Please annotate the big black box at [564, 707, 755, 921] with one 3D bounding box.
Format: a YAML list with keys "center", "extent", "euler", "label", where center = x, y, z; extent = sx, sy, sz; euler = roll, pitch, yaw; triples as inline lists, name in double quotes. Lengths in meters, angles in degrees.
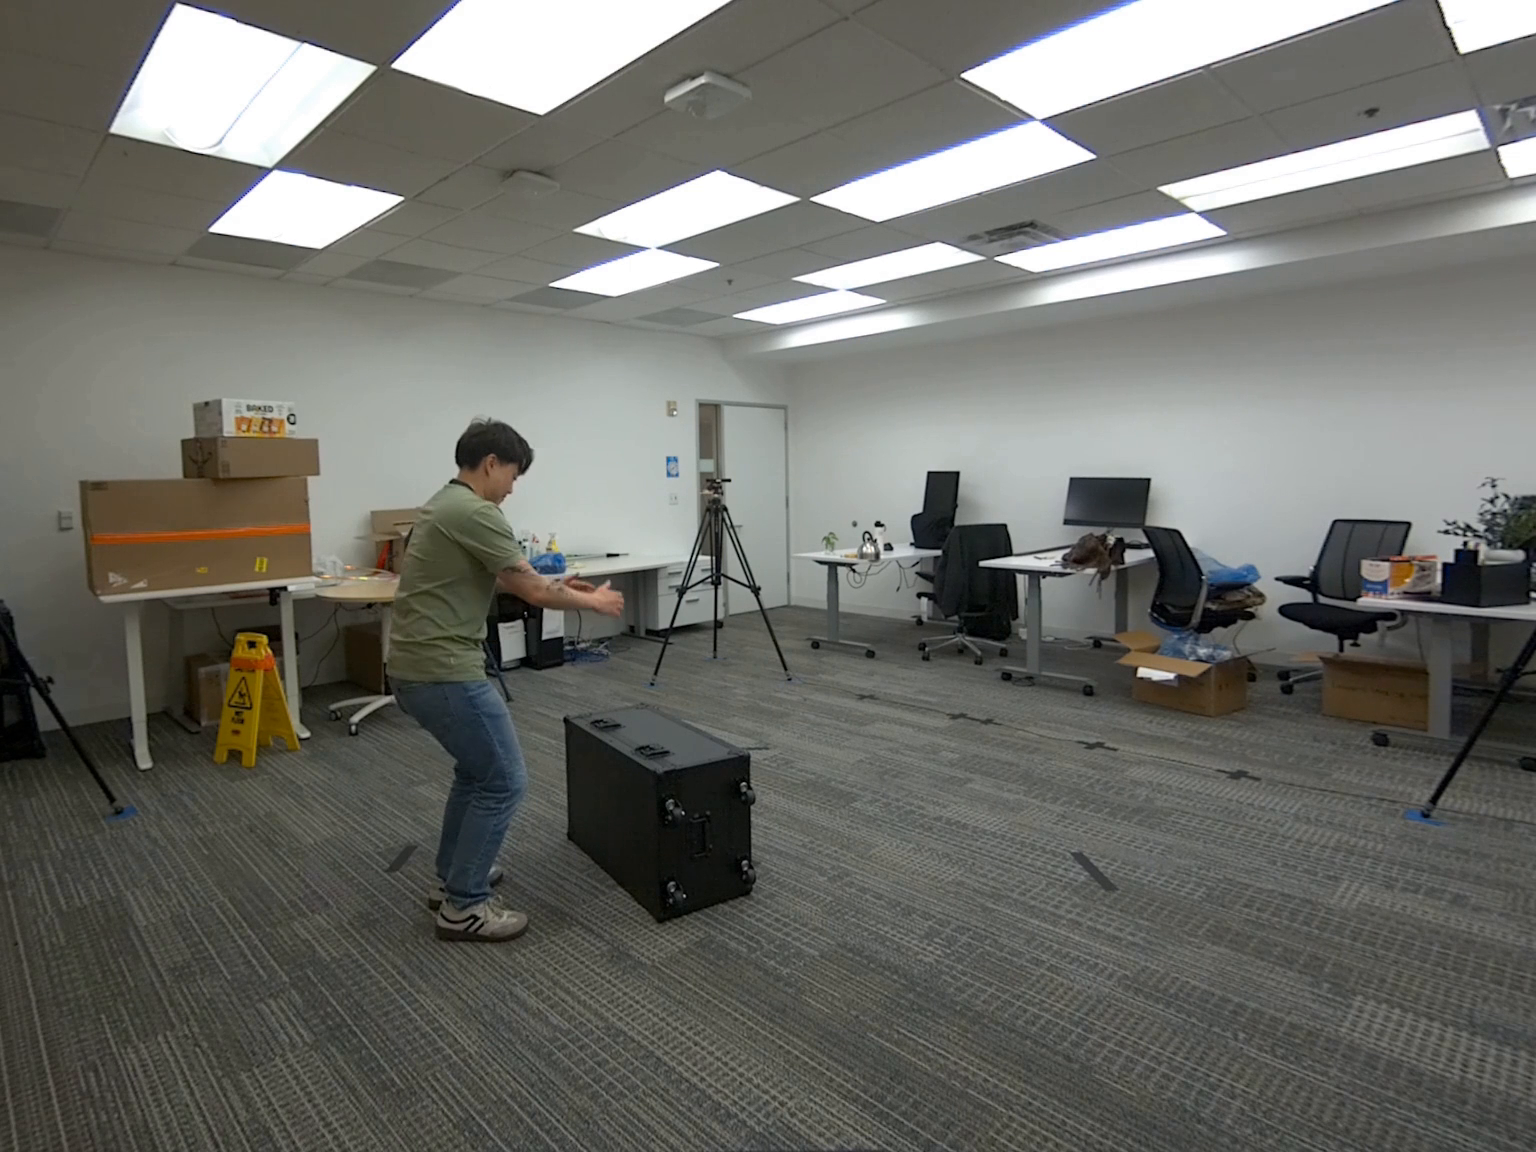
- center: [-0.392, 0.812, 3.078]
  extent: [0.387, 0.519, 0.887]
  euler: [-4, 7, -33]
  label: "big black box"
